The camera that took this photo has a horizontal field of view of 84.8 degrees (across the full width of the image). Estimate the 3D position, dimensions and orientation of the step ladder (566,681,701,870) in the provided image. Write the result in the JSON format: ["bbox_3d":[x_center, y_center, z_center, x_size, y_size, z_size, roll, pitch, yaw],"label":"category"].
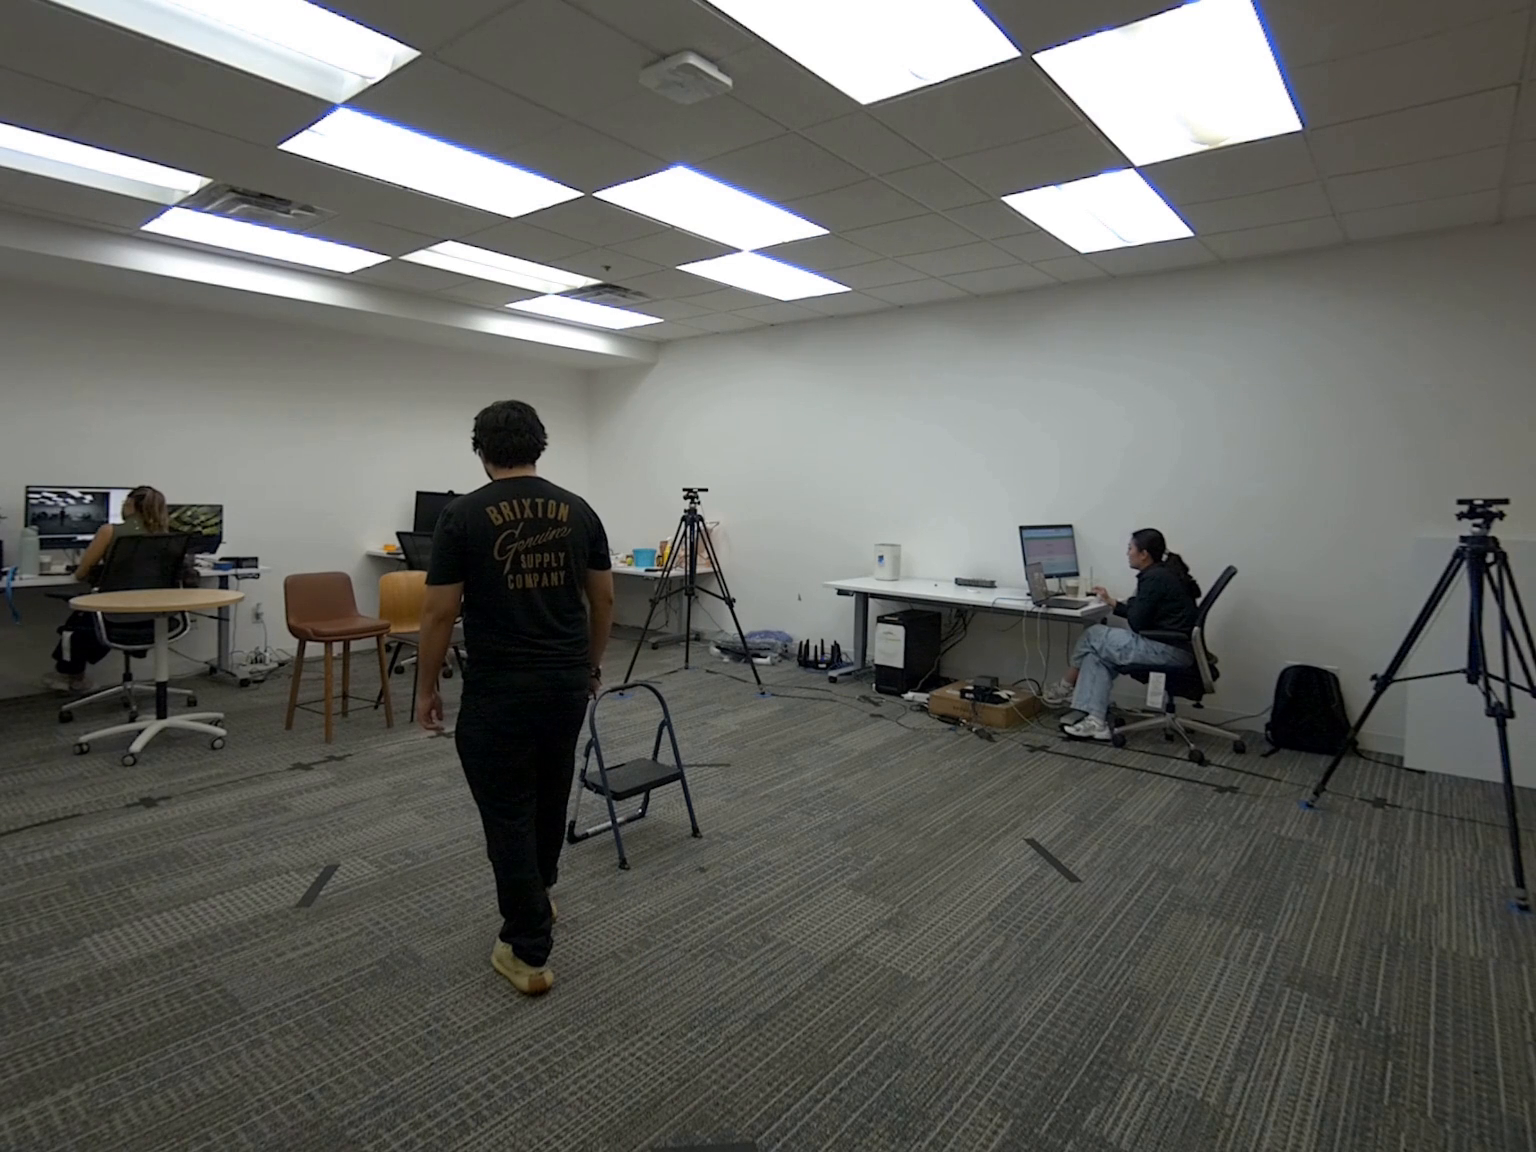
[{"bbox_3d":[-0.531,0.736,3.347,0.361,0.604,0.418,4,4,39],"label":"step ladder"}]
